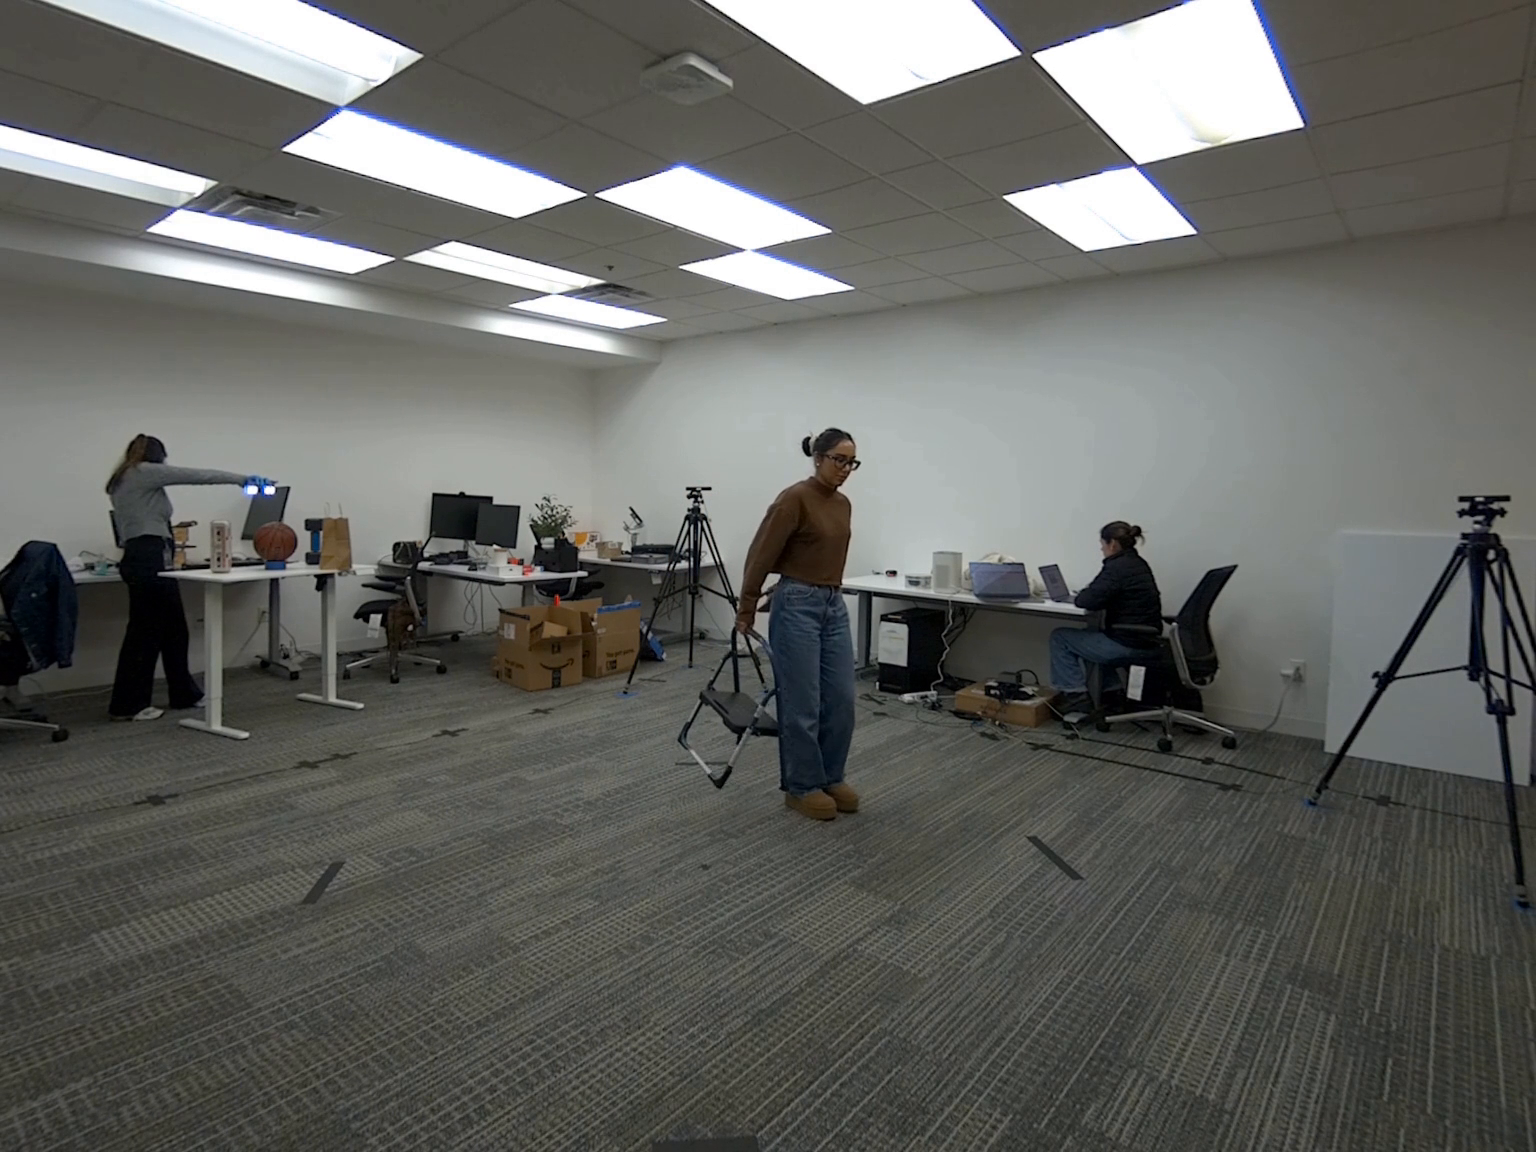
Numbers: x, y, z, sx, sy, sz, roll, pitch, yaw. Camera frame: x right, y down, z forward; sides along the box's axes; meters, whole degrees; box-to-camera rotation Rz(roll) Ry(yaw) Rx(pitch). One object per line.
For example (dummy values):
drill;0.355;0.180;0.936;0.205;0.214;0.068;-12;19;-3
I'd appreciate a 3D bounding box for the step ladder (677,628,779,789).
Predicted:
step ladder;-0.085;0.519;3.588;0.338;0.602;0.447;9;11;-32
